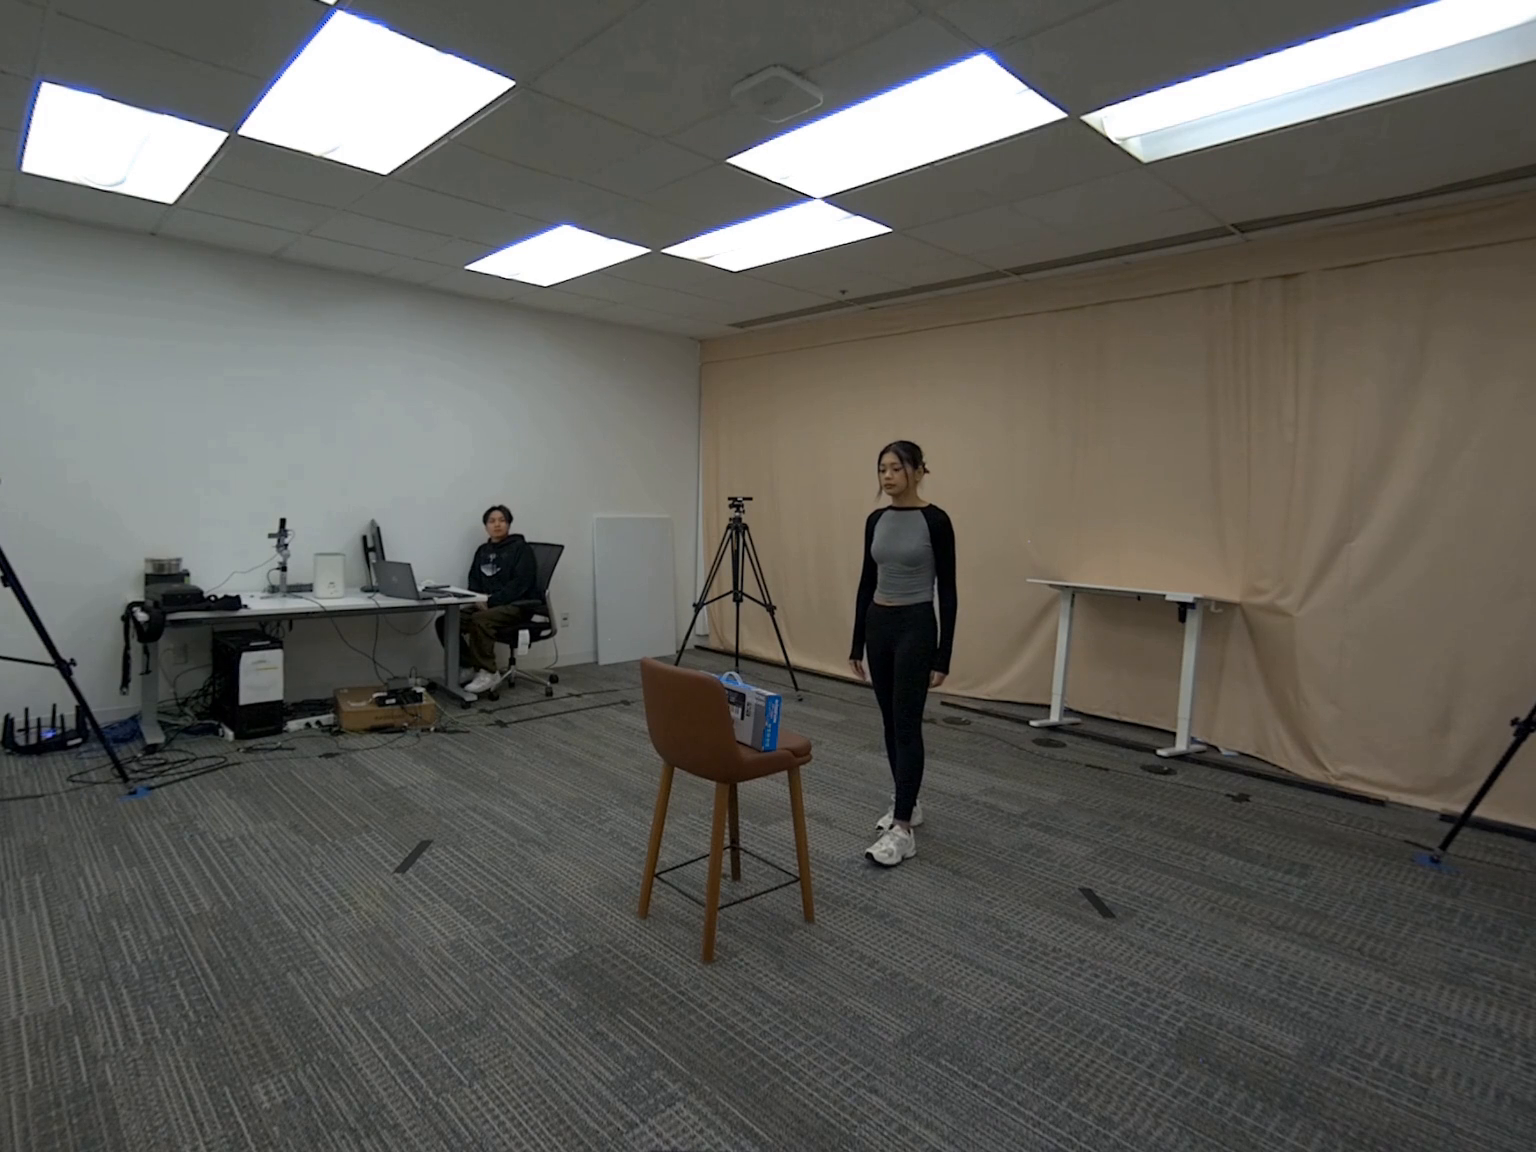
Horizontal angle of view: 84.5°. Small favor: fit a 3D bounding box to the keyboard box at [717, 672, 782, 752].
[{"bbox_3d":[-0.133,0.438,2.773,0.057,0.176,0.448,5,2,-39],"label":"keyboard box"}]
